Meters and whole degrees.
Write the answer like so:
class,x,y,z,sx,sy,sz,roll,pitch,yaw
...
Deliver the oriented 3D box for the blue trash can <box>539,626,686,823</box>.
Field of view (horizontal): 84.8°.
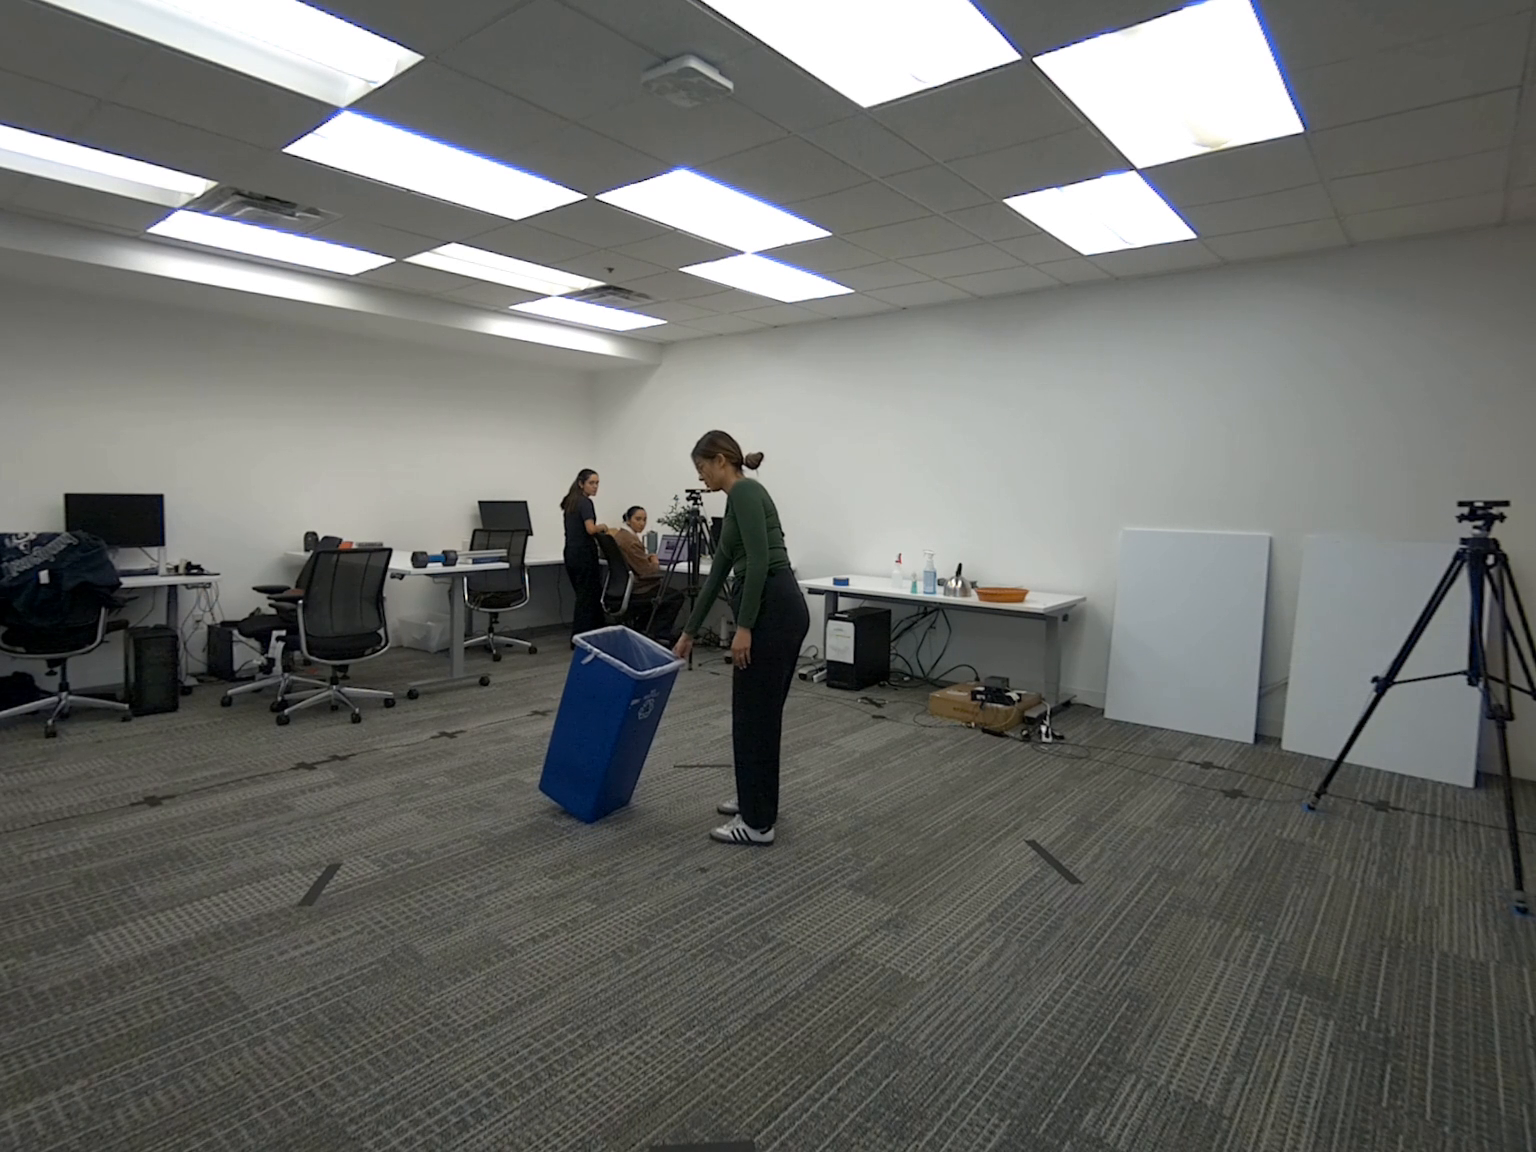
class,x,y,z,sx,sy,sz,roll,pitch,yaw
blue trash can,-0.711,0.627,3.641,0.386,0.708,0.369,25,14,24
